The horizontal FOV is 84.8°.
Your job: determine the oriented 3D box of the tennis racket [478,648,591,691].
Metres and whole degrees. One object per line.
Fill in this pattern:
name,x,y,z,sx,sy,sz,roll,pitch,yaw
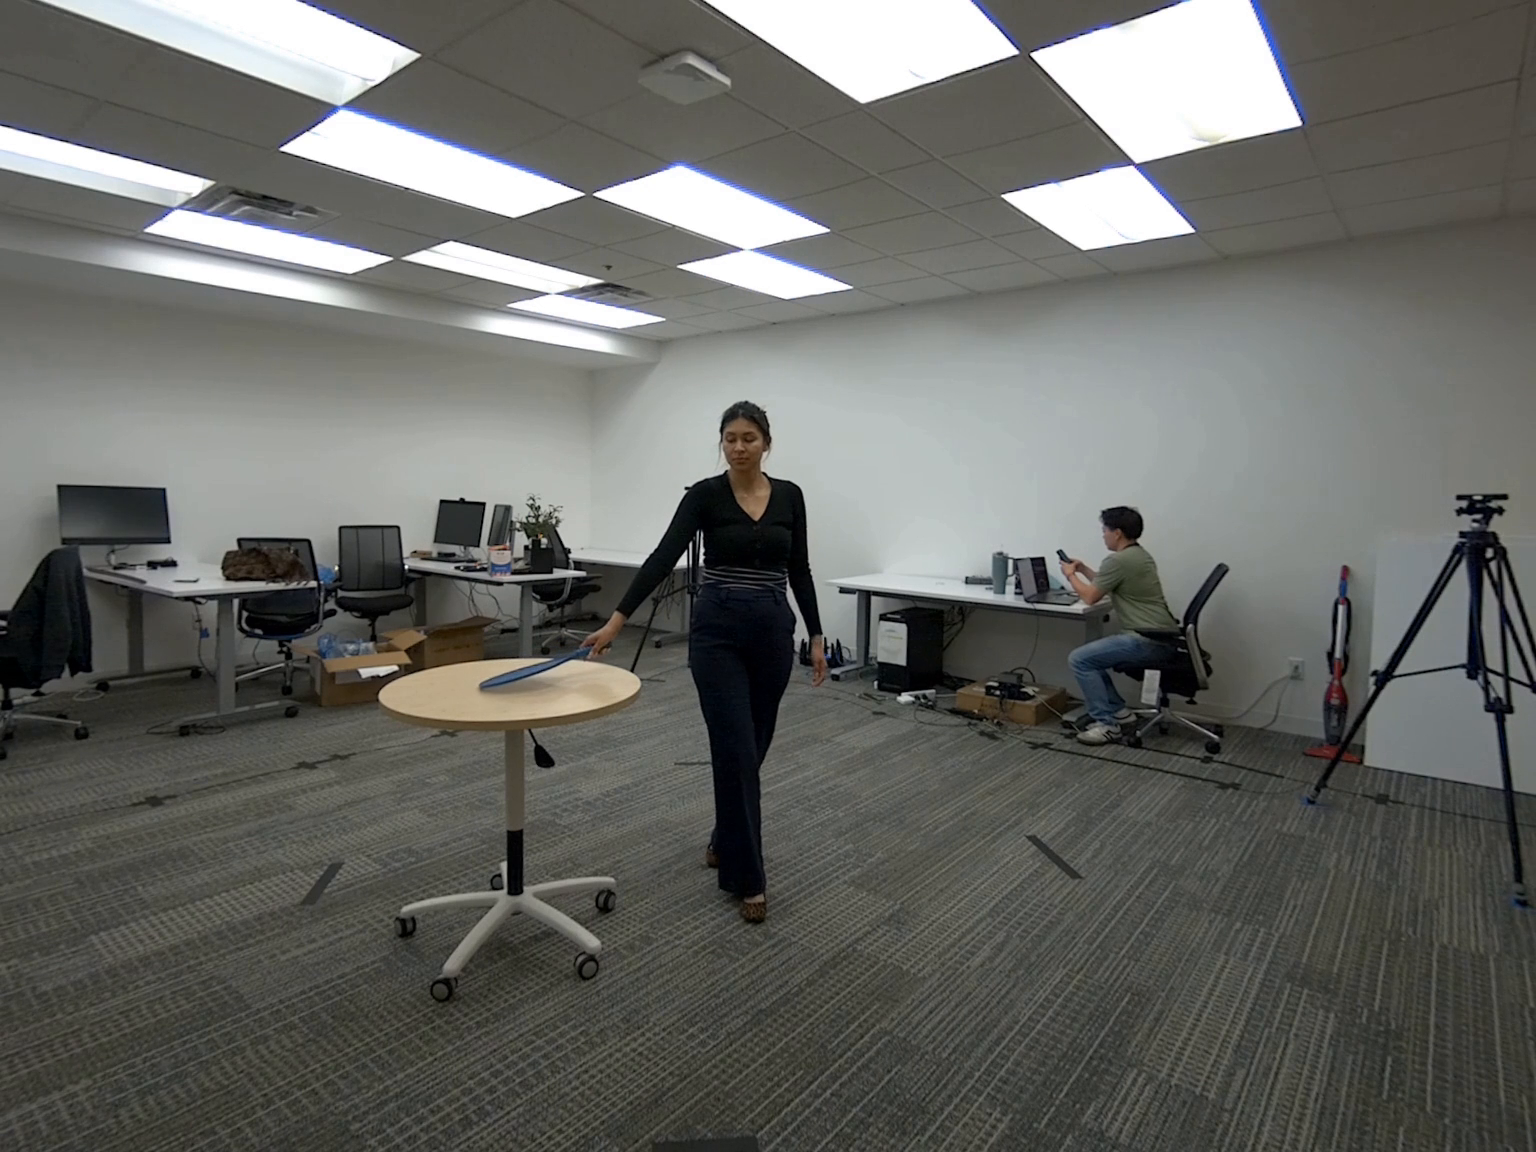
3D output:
tennis racket,-0.699,0.276,2.607,0.424,0.031,0.218,-16,5,-30
